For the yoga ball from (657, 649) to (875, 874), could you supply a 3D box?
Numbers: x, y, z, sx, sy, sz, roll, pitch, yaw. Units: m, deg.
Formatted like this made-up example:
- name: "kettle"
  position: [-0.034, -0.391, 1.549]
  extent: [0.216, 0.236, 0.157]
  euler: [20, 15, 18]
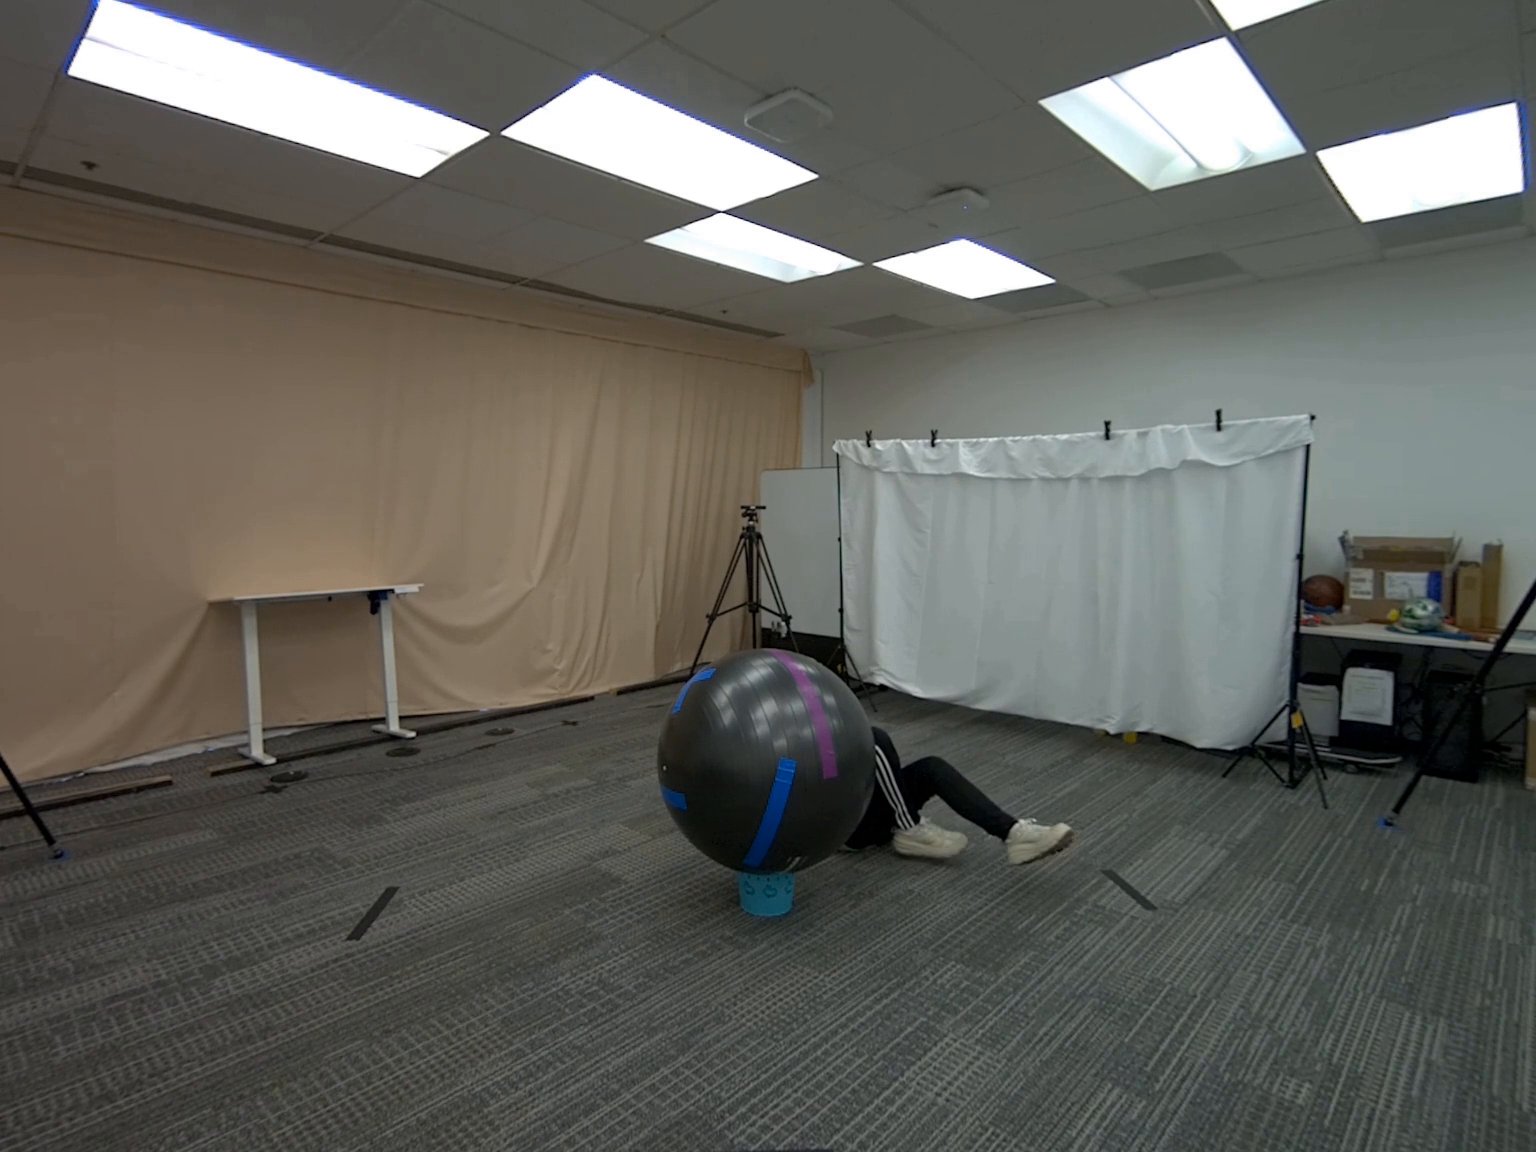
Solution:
- name: "yoga ball"
  position: [-0.003, 0.636, 2.924]
  extent: [0.757, 0.756, 0.760]
  euler: [0, 4, -2]
